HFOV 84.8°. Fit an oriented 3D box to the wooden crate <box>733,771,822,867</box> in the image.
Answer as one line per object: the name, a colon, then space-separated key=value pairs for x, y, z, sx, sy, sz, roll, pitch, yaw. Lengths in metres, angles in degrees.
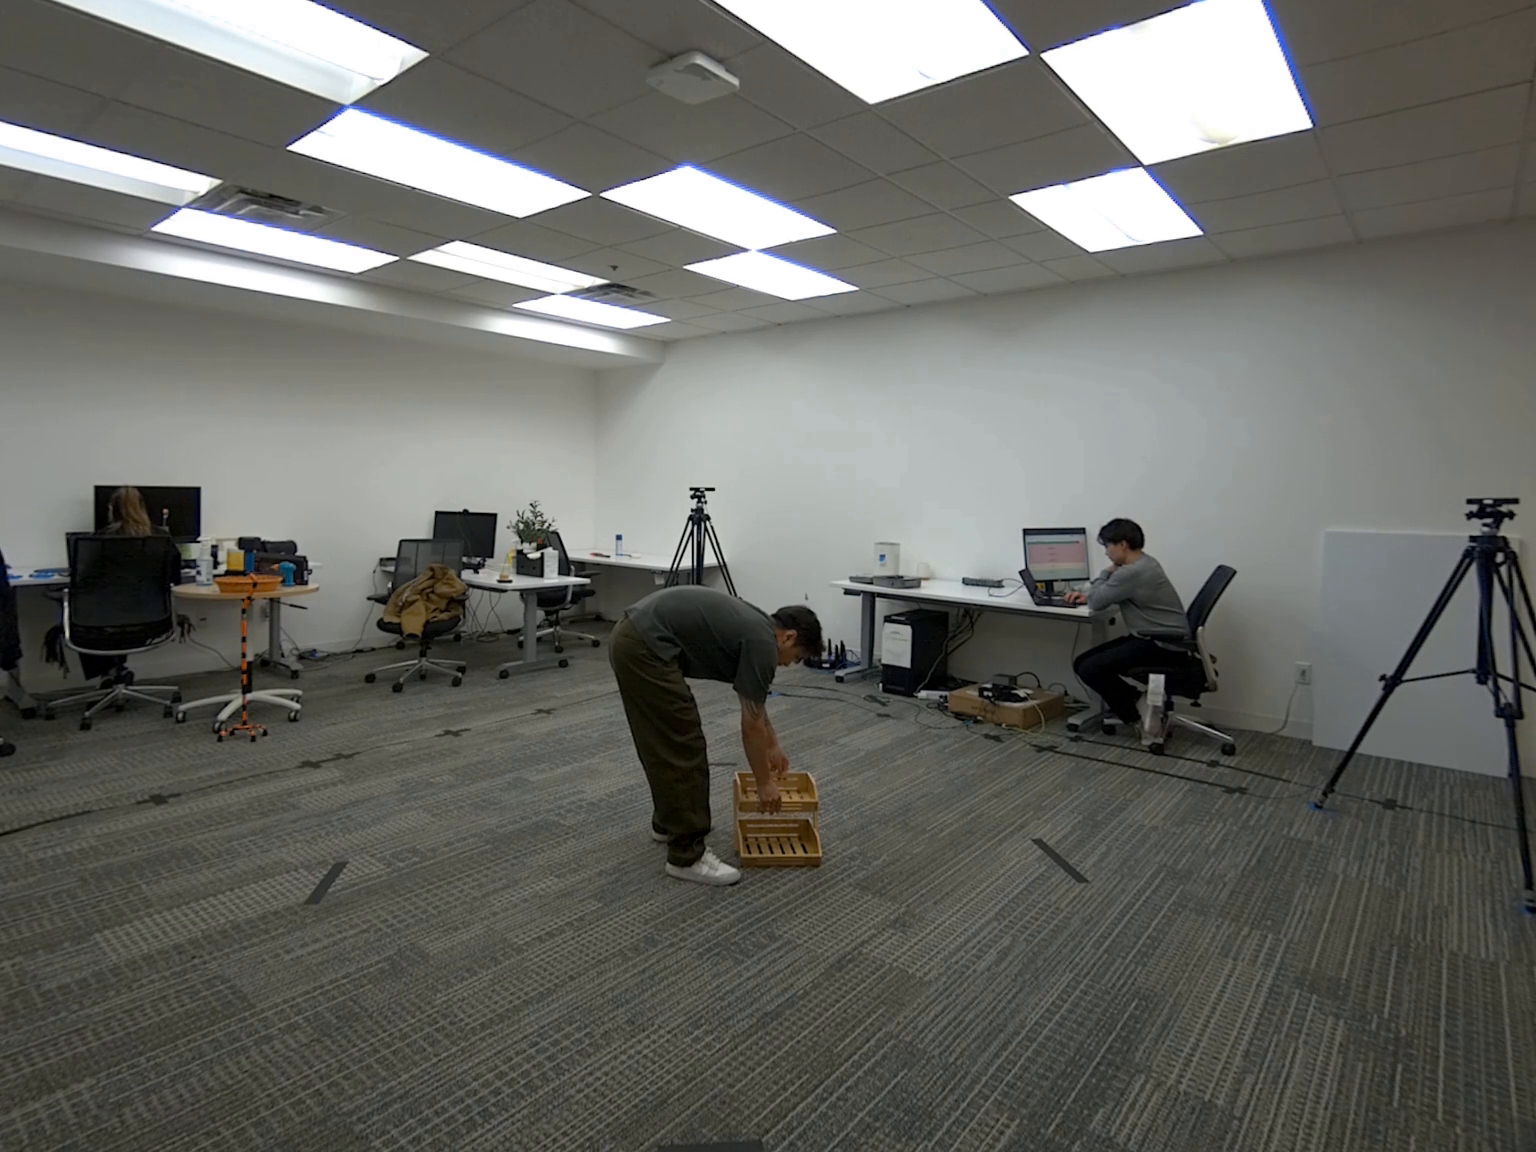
wooden crate: x=0.032 y=0.929 z=3.252 sx=0.323 sy=0.273 sz=0.304 roll=3 pitch=2 yaw=-5
